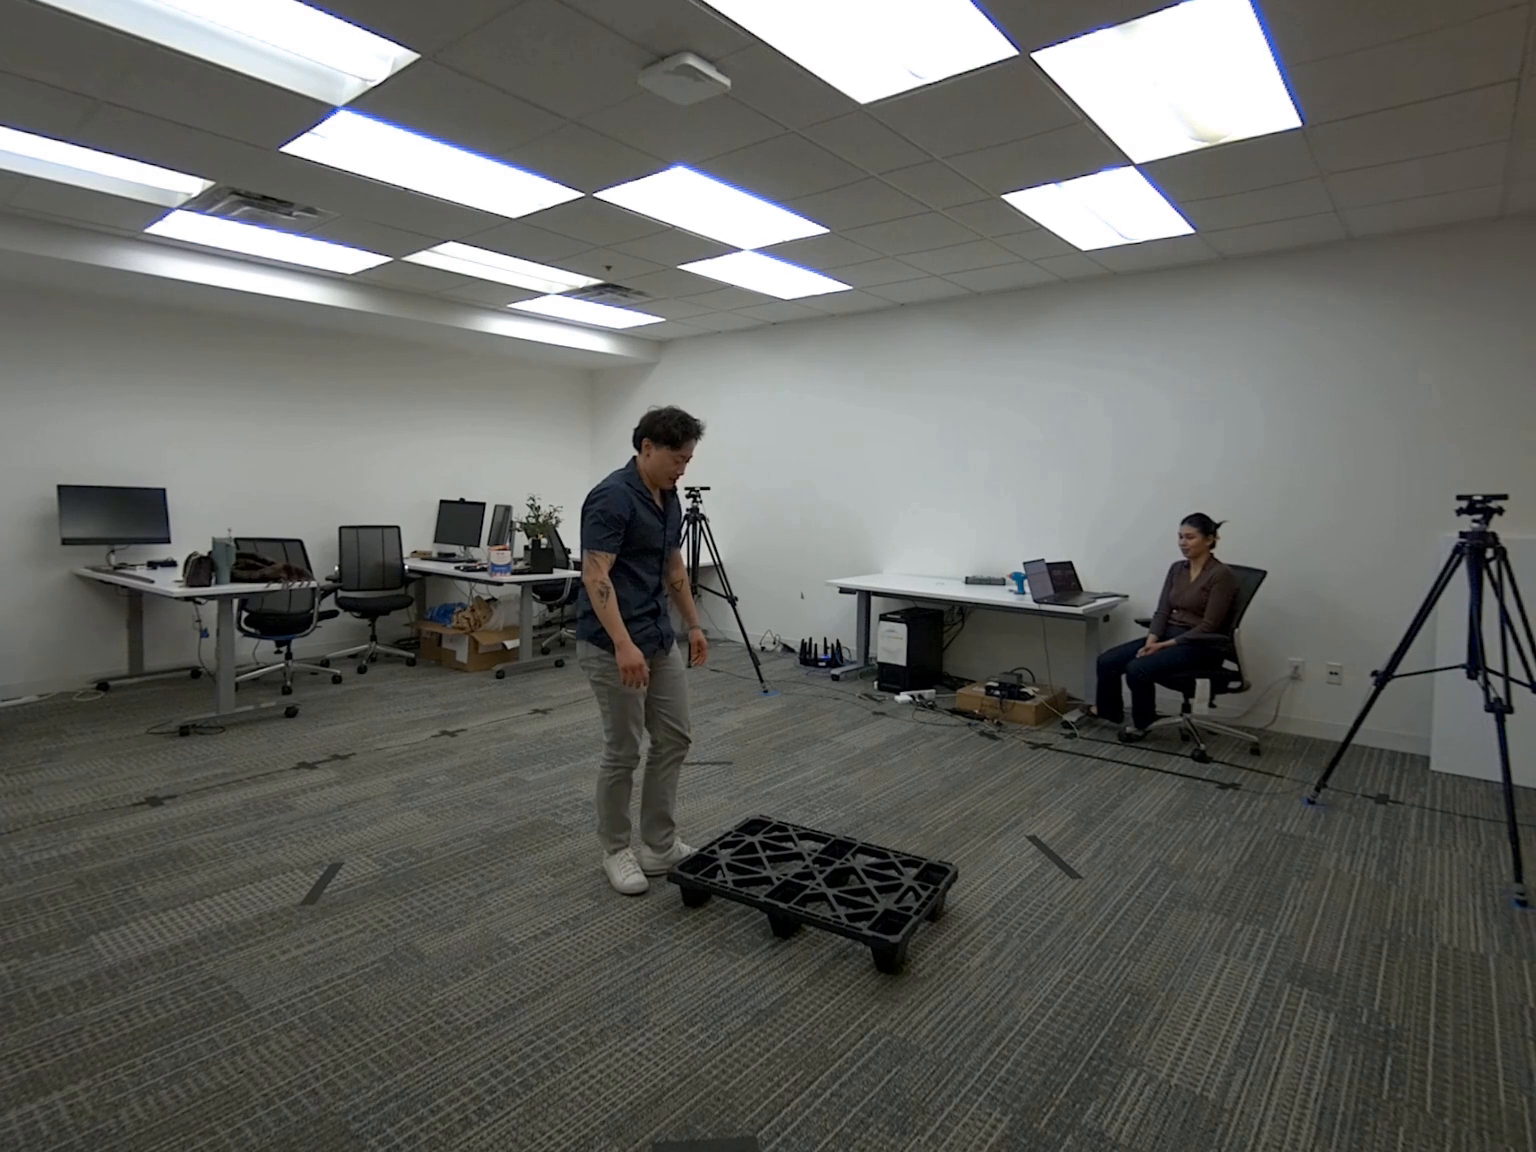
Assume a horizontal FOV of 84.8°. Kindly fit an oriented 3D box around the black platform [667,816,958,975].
[{"bbox_3d":[0.148,1.034,2.824,0.830,0.143,0.590,4,7,31],"label":"black platform"}]
